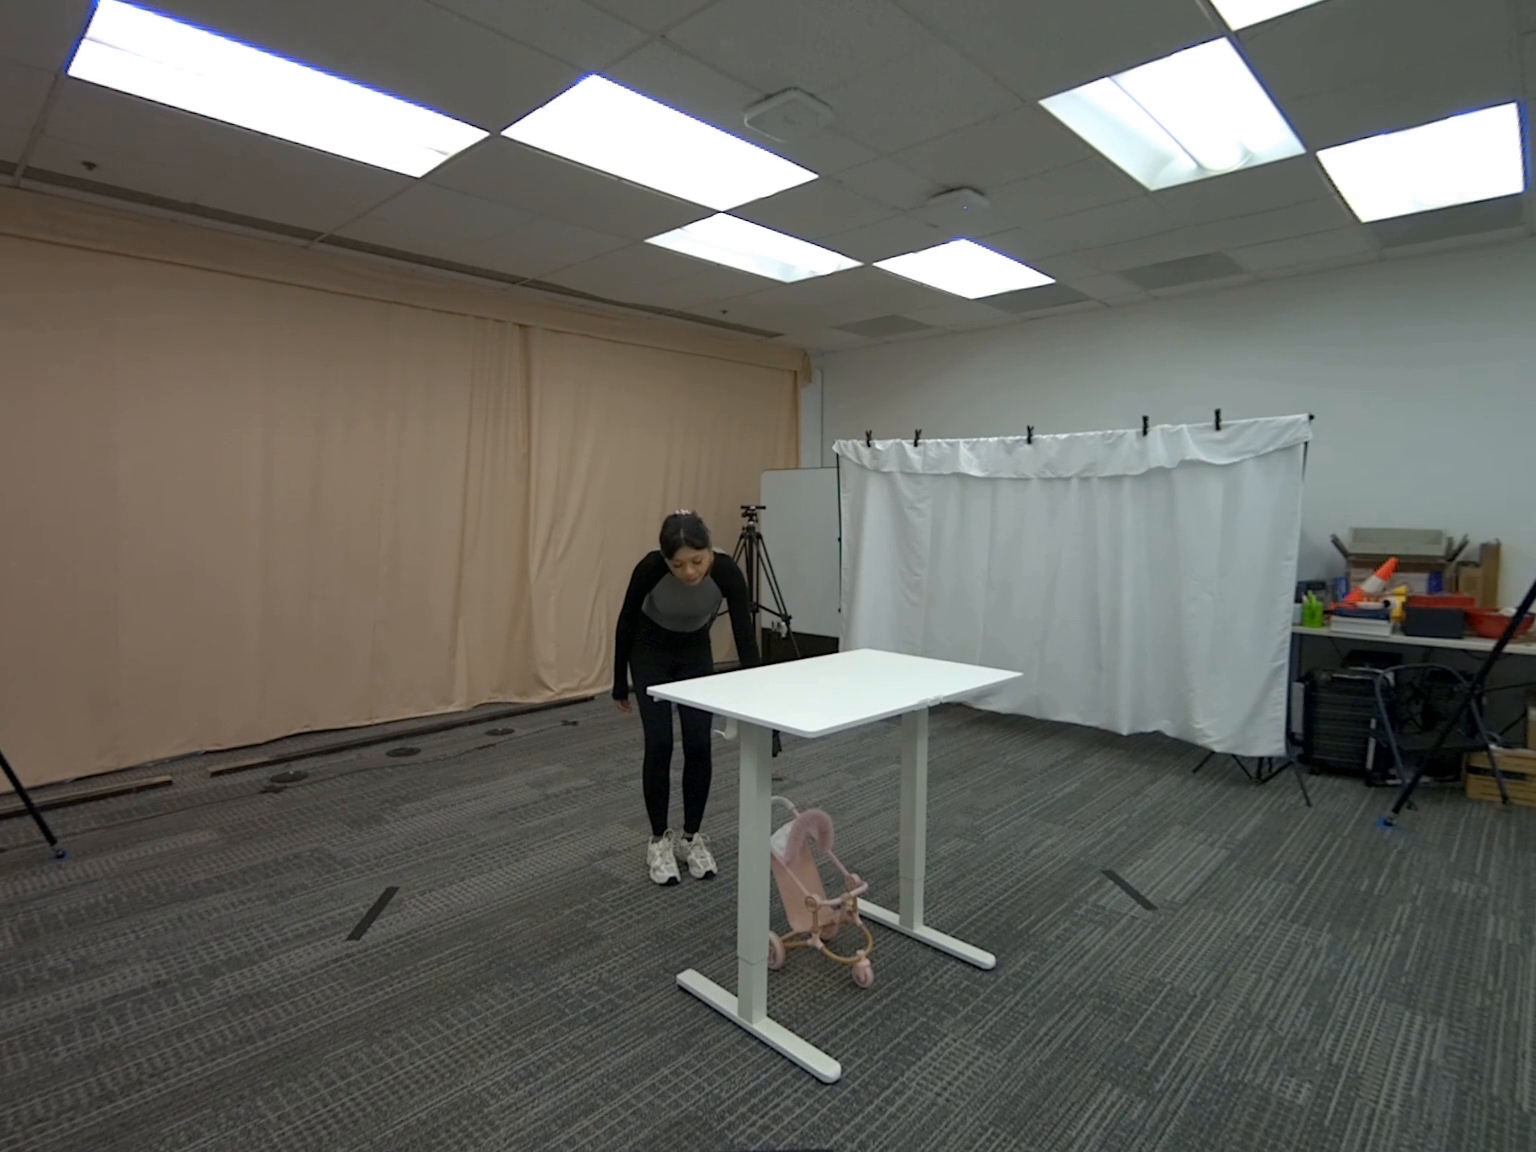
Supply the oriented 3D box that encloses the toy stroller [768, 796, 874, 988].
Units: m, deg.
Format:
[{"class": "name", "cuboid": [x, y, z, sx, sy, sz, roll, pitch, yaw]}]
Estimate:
[{"class": "toy stroller", "cuboid": [0.141, 0.955, 2.558, 0.273, 0.539, 0.349, -3, -10, -40]}]
